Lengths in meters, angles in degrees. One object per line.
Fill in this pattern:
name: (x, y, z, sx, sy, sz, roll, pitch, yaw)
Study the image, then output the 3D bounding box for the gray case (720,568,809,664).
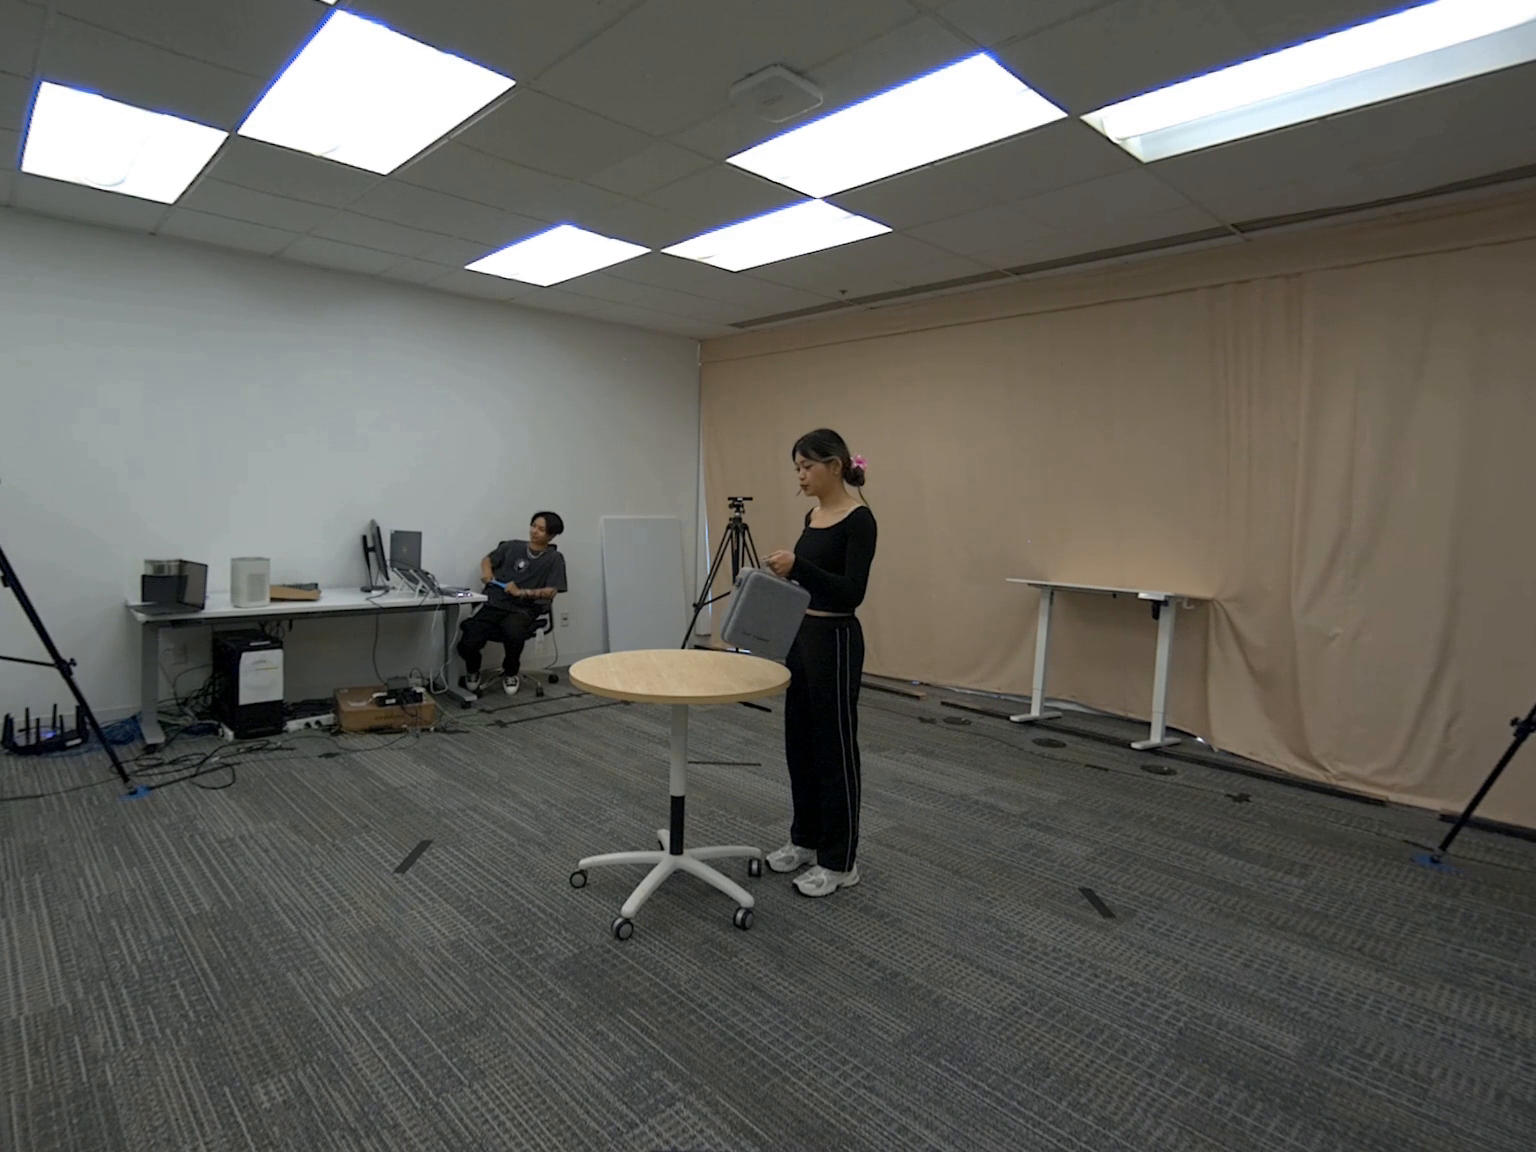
gray case: (-0.024, 0.120, 2.740, 0.250, 0.260, 0.107, 22, 1, -29)
